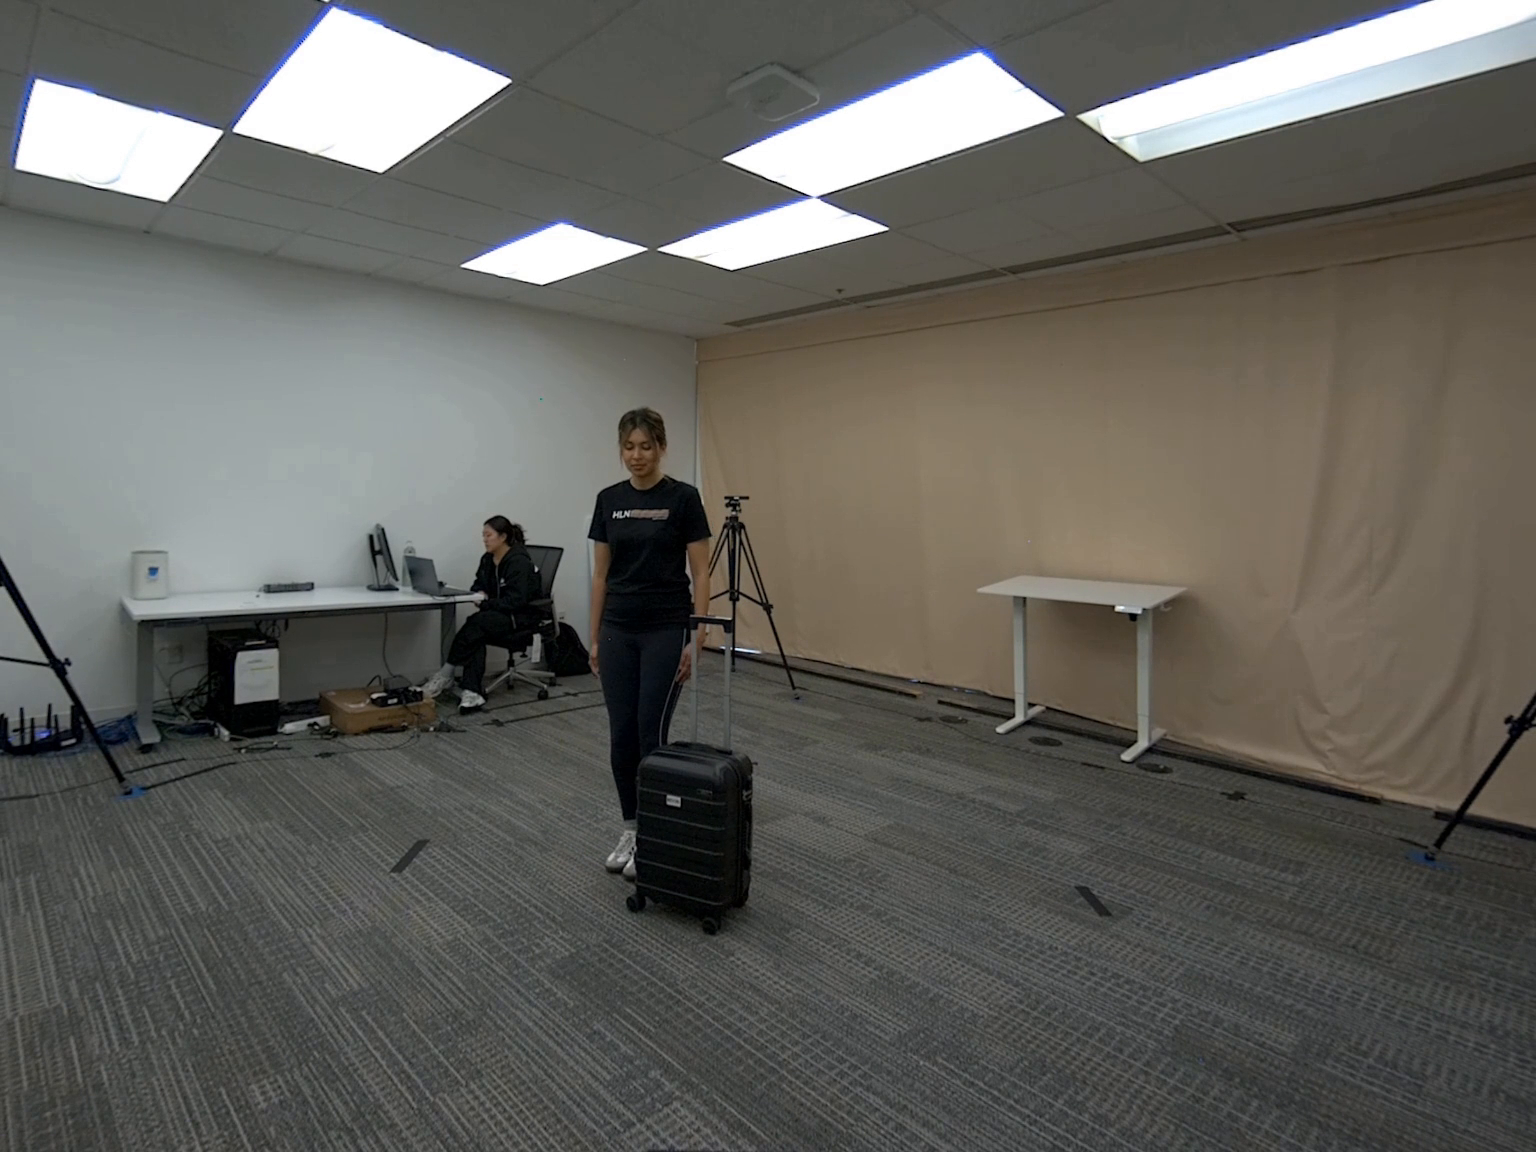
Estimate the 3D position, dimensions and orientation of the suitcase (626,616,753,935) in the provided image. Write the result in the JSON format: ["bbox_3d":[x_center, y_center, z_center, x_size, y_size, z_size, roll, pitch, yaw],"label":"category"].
[{"bbox_3d":[-0.246,0.654,2.804,0.391,0.975,0.253,4,6,24],"label":"suitcase"}]
